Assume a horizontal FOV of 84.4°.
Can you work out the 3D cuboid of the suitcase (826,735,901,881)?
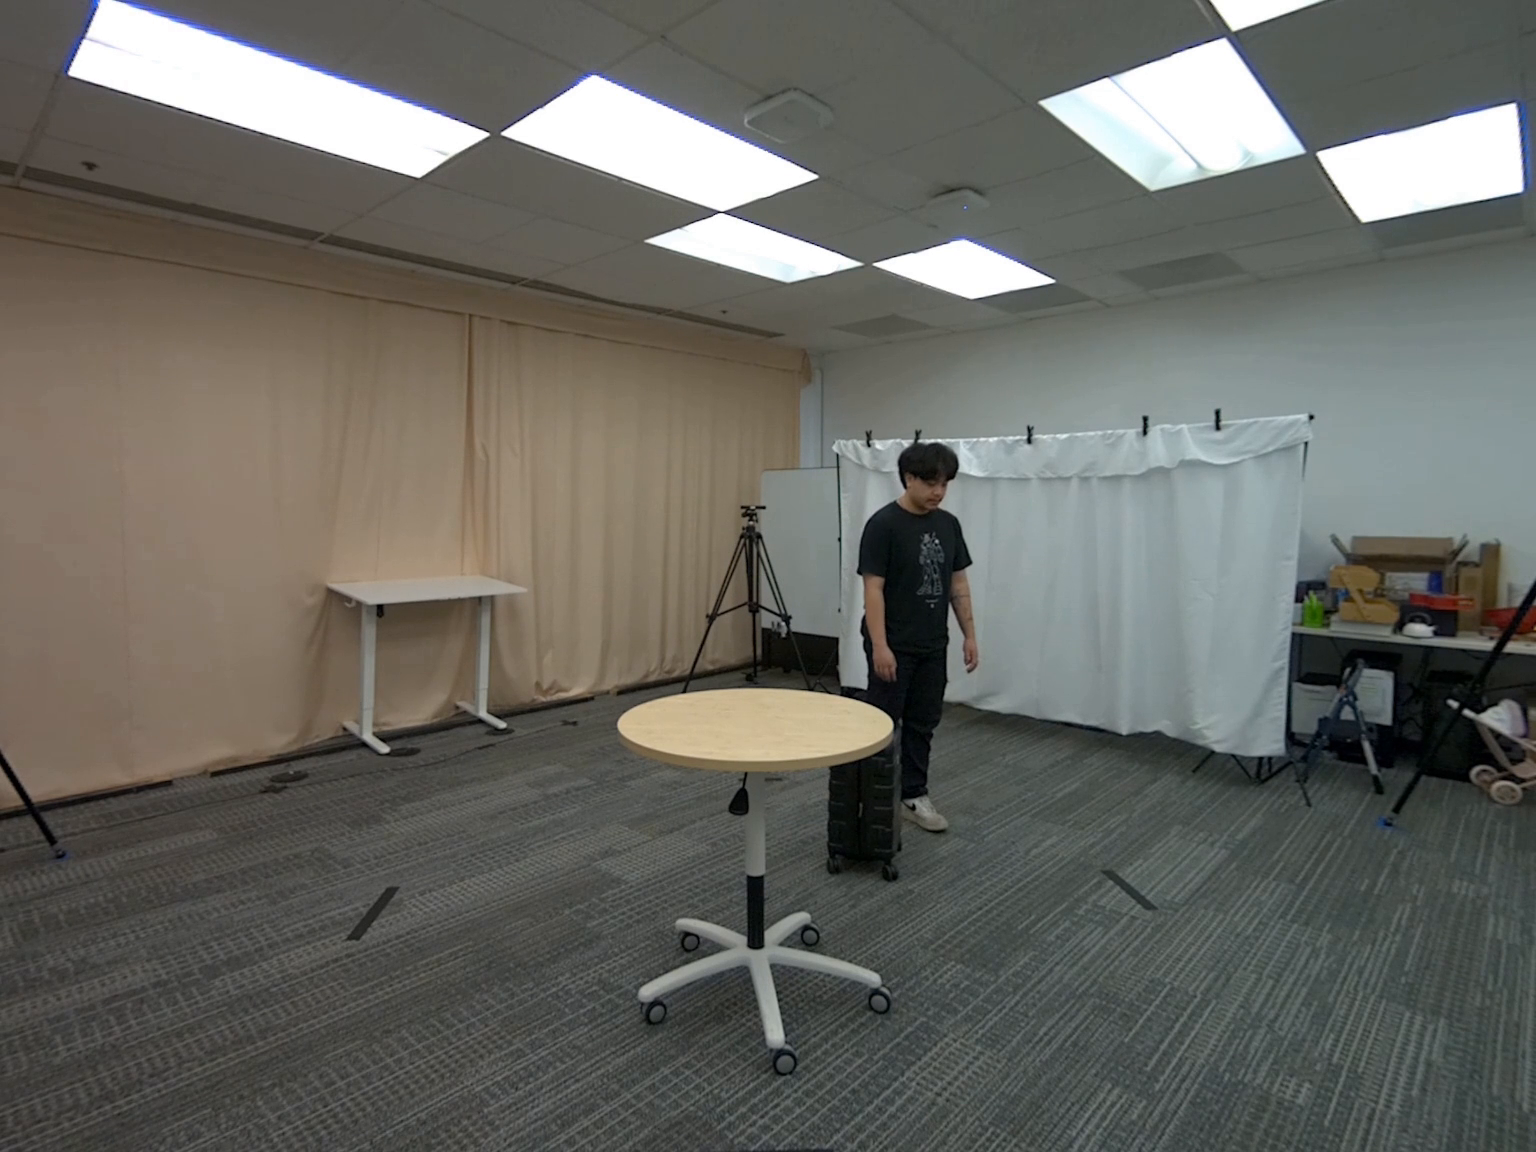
[{"bbox_3d":[0.389,0.842,3.314,0.252,0.549,0.369,1,2,15],"label":"suitcase"}]
